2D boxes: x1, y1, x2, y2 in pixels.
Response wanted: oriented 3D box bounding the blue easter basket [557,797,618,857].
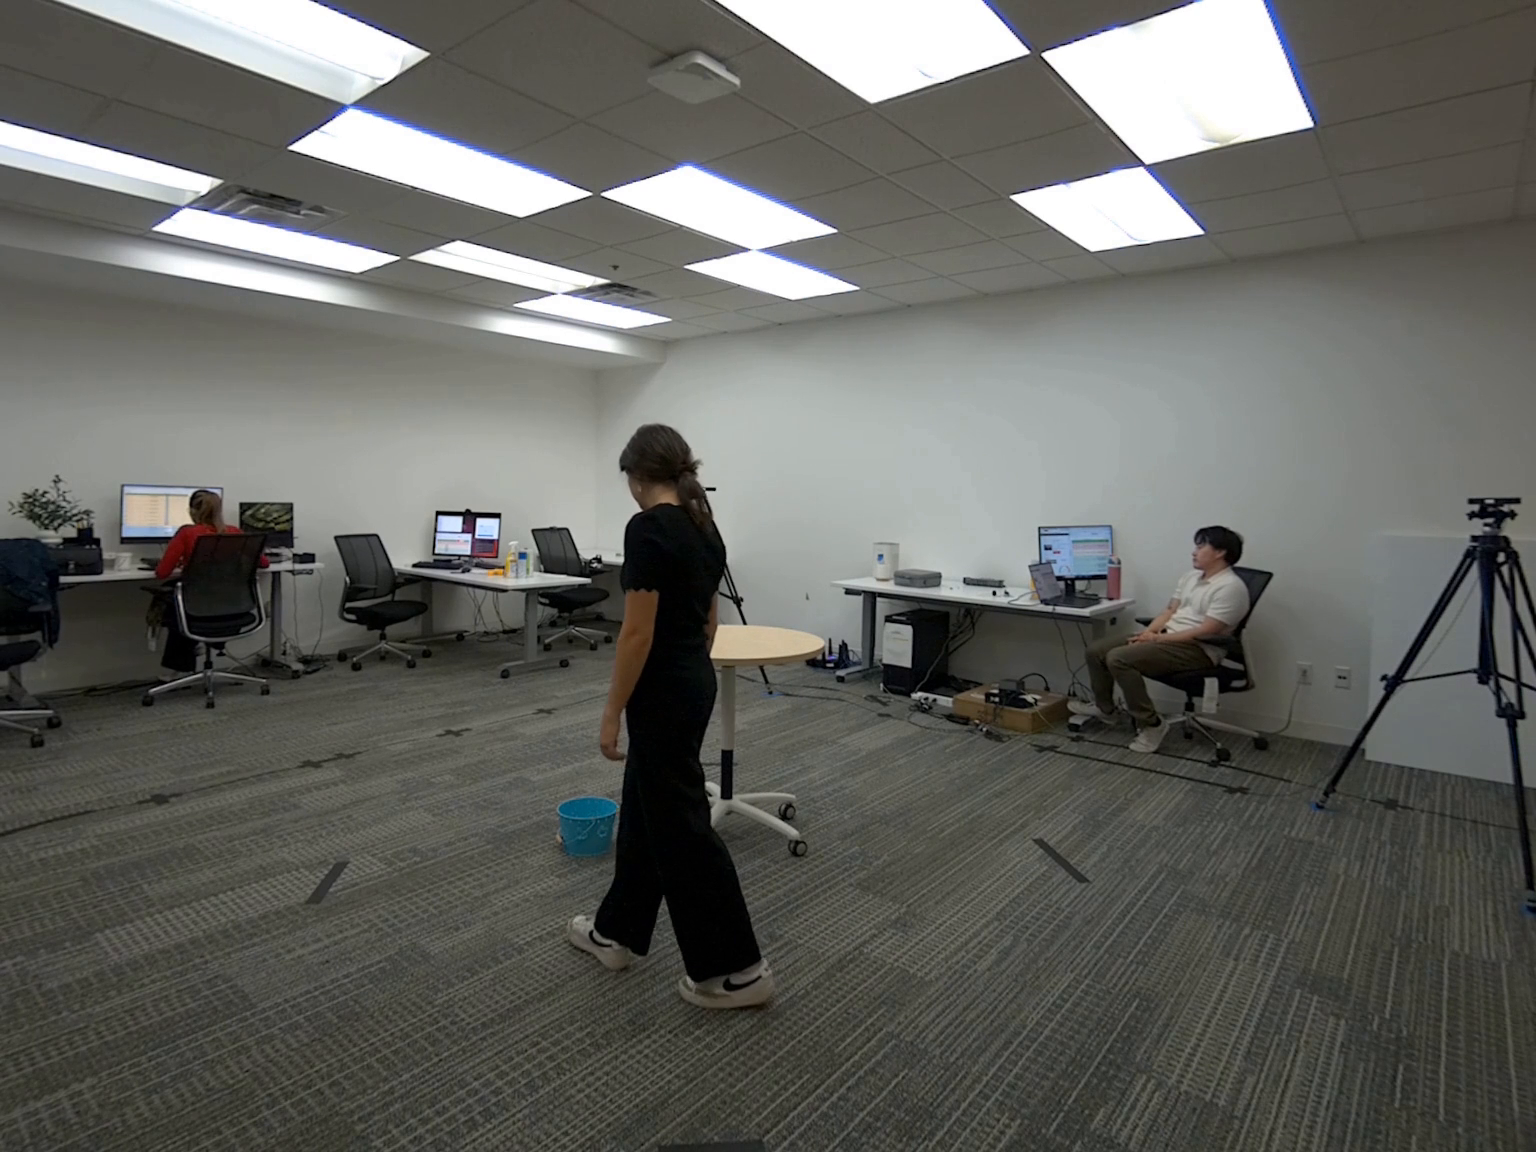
[{"bbox_3d":[-0.698,0.963,3.274,0.243,0.155,0.245,1,5,-2],"label":"blue easter basket"}]
